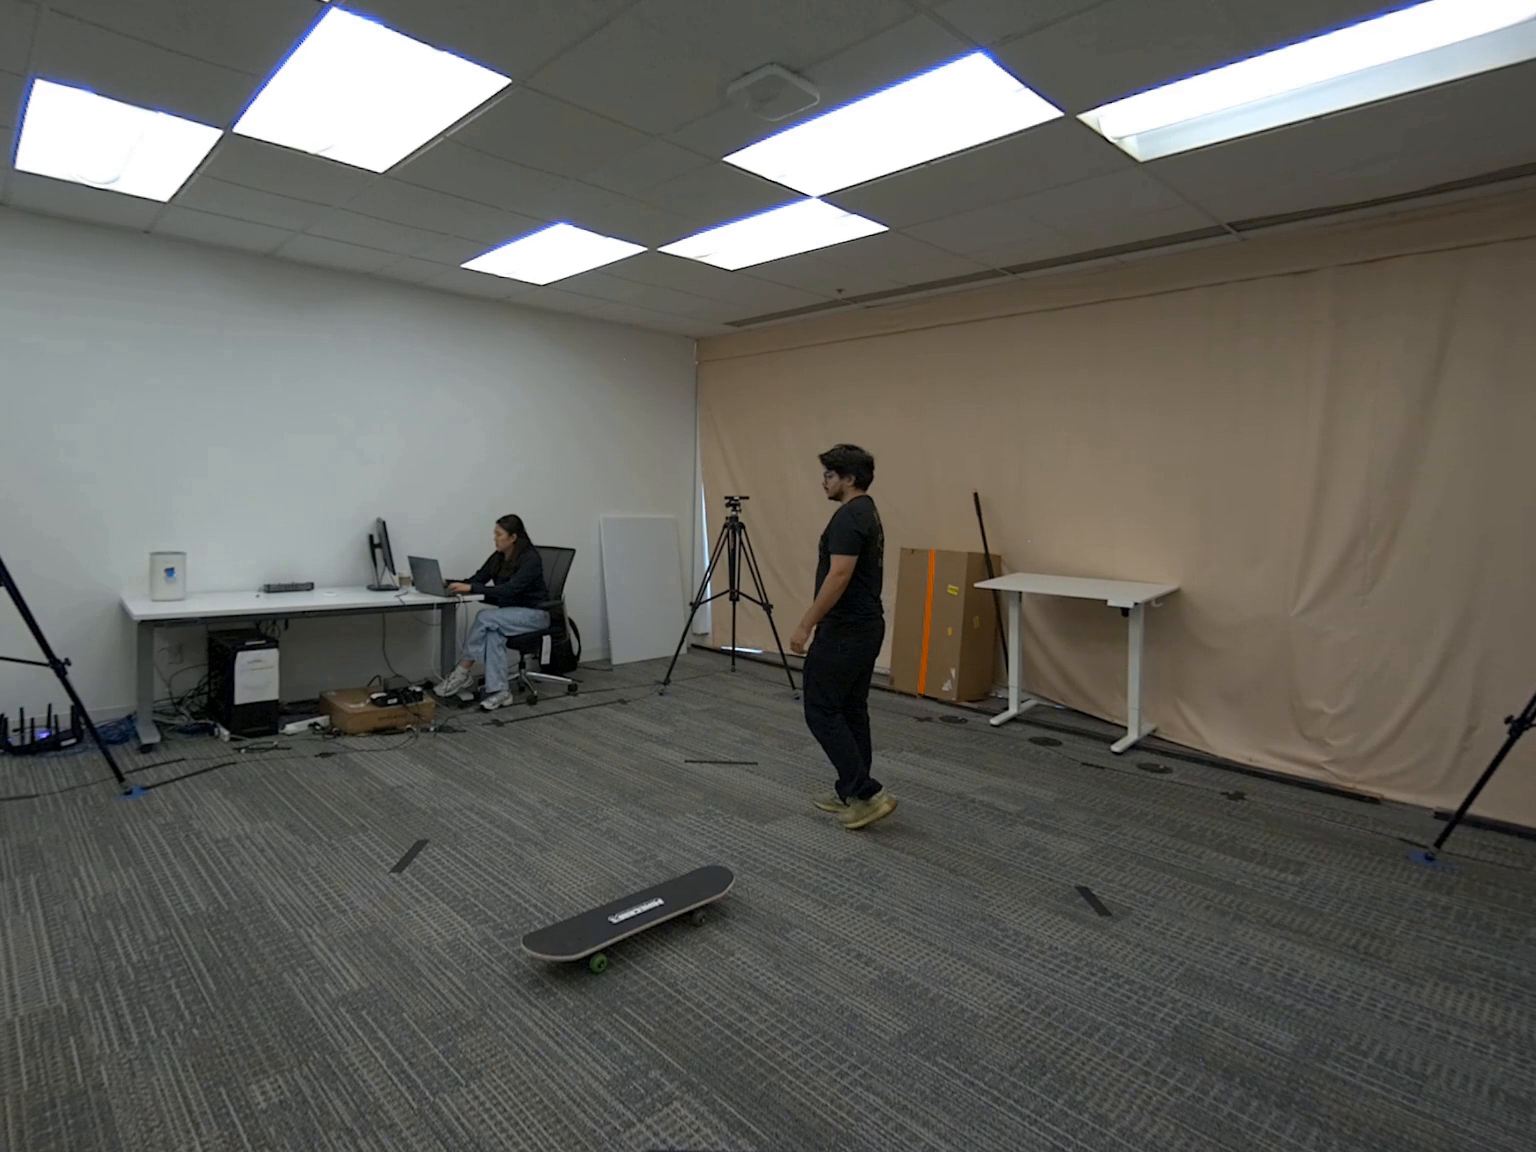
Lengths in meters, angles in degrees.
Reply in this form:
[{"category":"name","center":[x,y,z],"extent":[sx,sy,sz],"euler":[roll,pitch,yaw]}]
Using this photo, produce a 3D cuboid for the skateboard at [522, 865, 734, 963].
[{"category":"skateboard","center":[-0.416,1.083,2.644],"extent":[0.198,0.110,0.768],"euler":[5,6,44]}]
